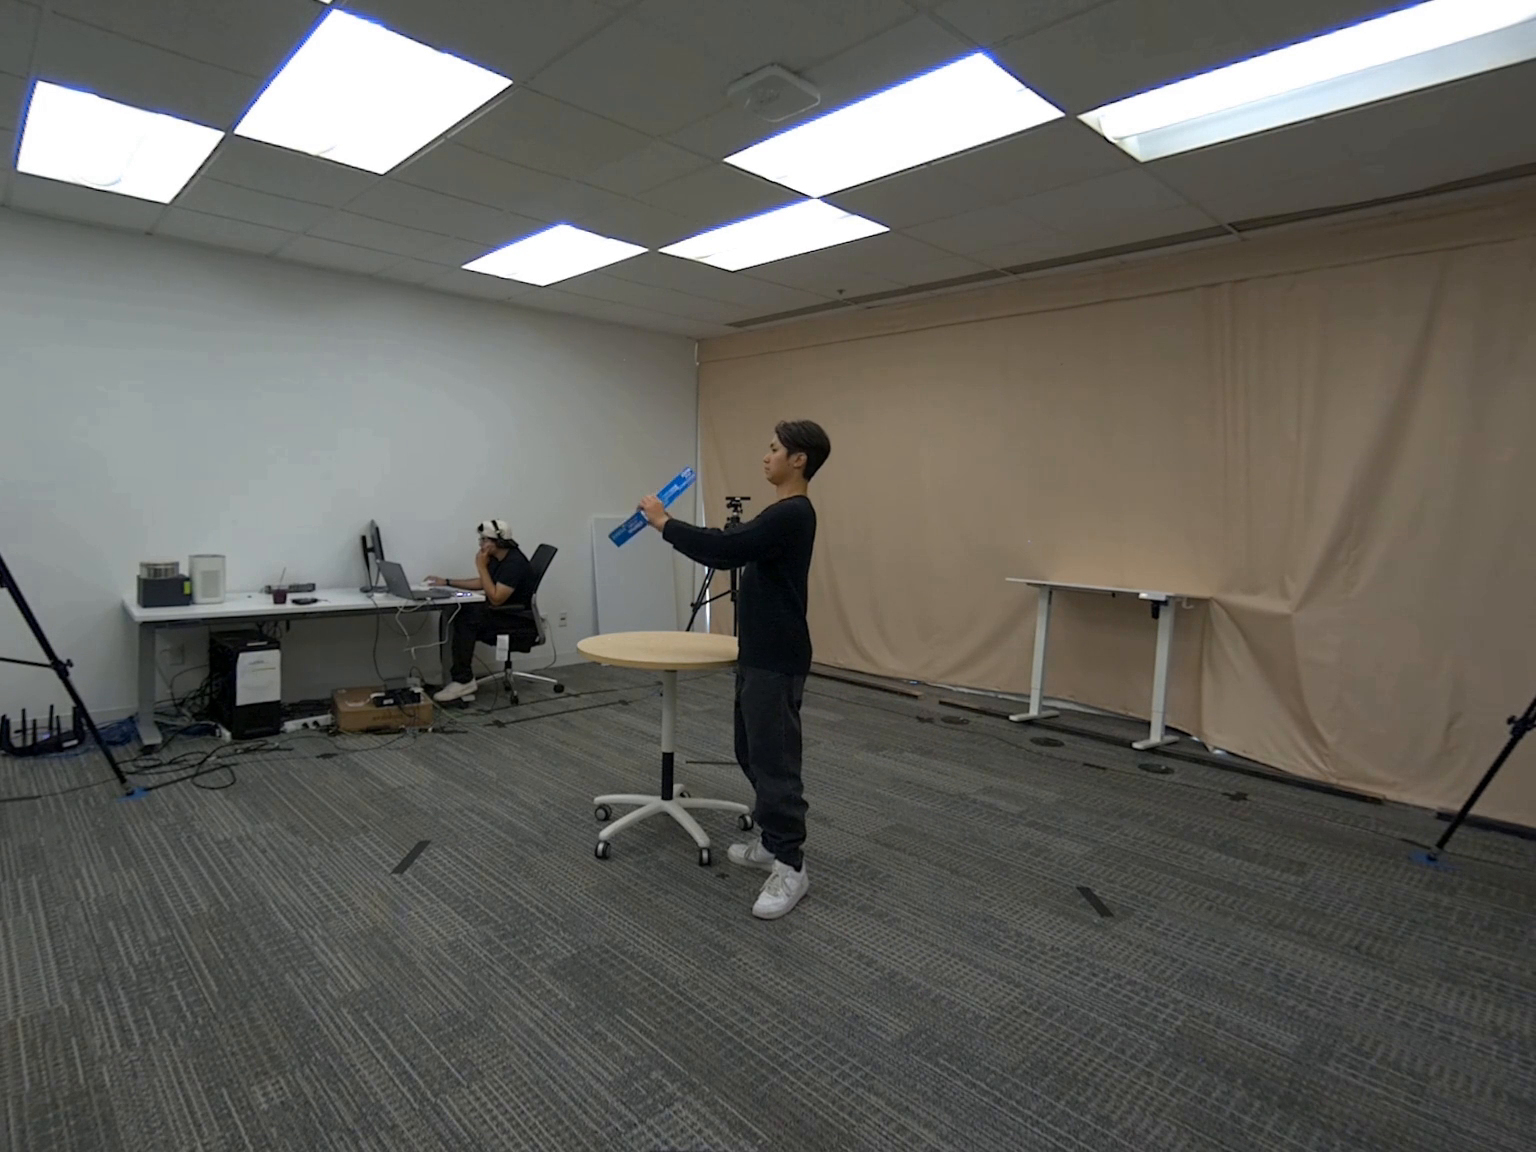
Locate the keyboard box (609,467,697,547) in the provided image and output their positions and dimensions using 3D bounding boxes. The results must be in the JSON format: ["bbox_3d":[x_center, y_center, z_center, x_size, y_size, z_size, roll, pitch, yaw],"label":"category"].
[{"bbox_3d":[-0.418,-0.258,3.111,0.177,0.058,0.438,-33,12,33],"label":"keyboard box"}]
